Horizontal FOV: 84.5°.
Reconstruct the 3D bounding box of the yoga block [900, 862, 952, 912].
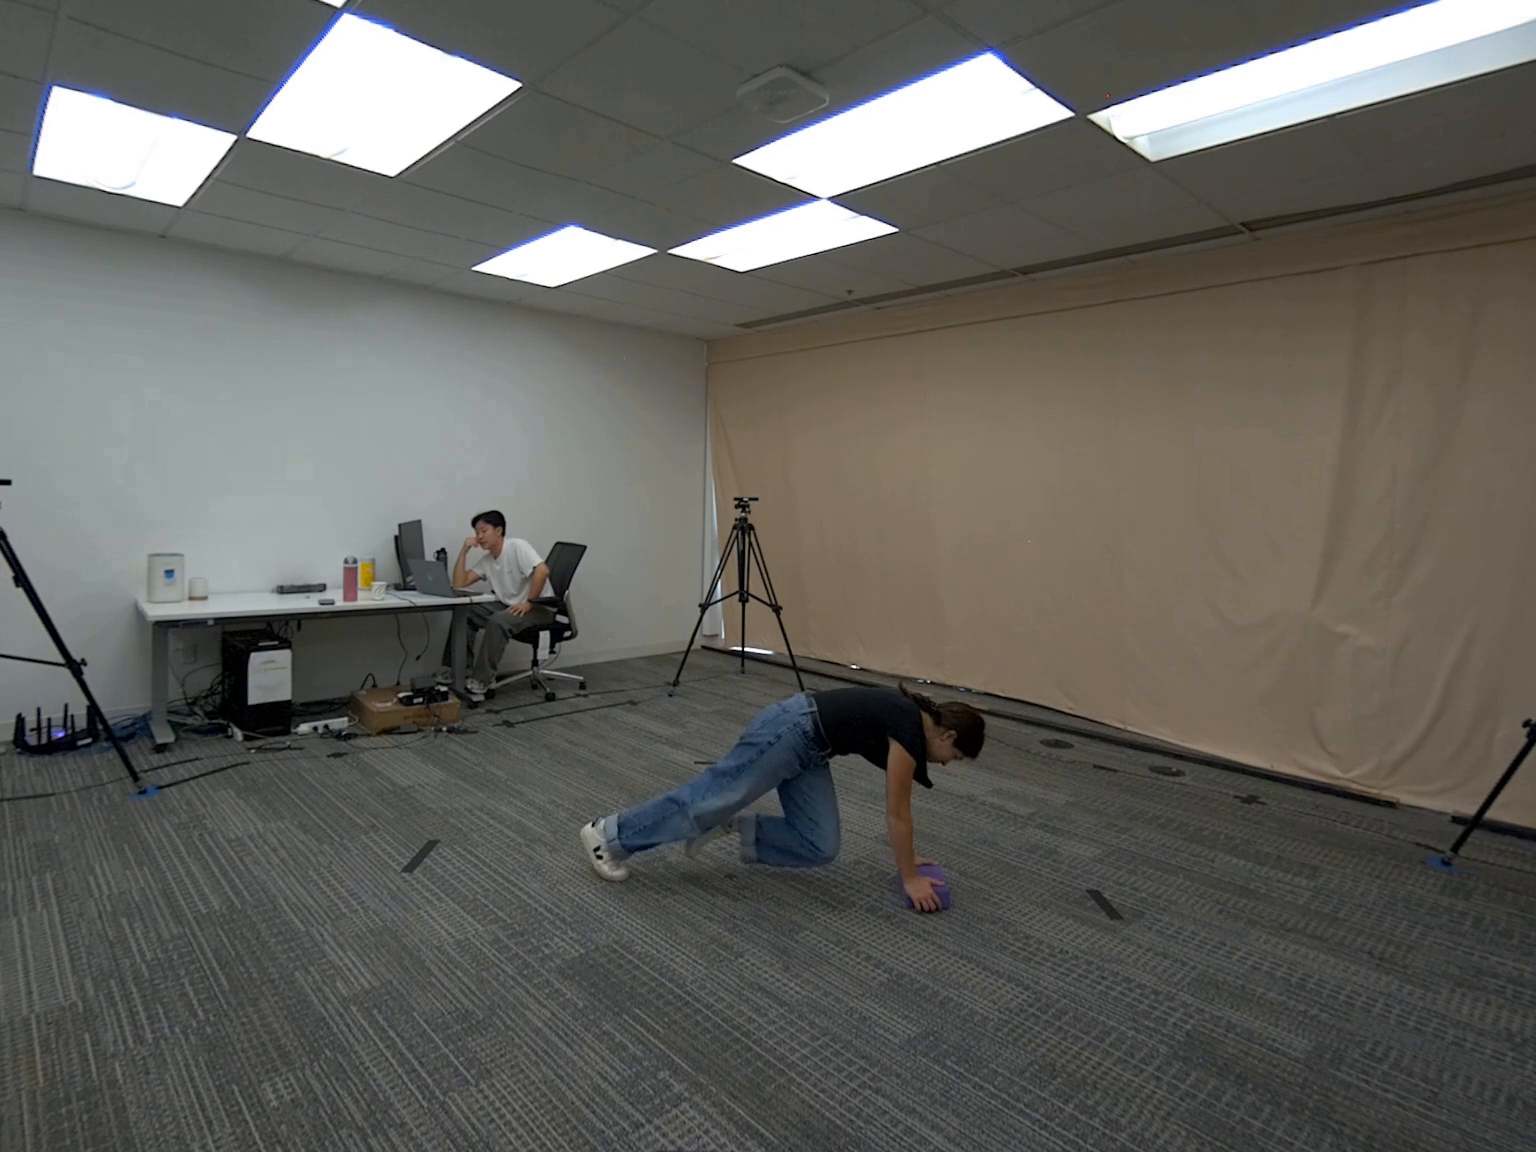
[{"bbox_3d":[0.548,1.100,2.986,0.149,0.076,0.229,0,3,2],"label":"yoga block"}]
